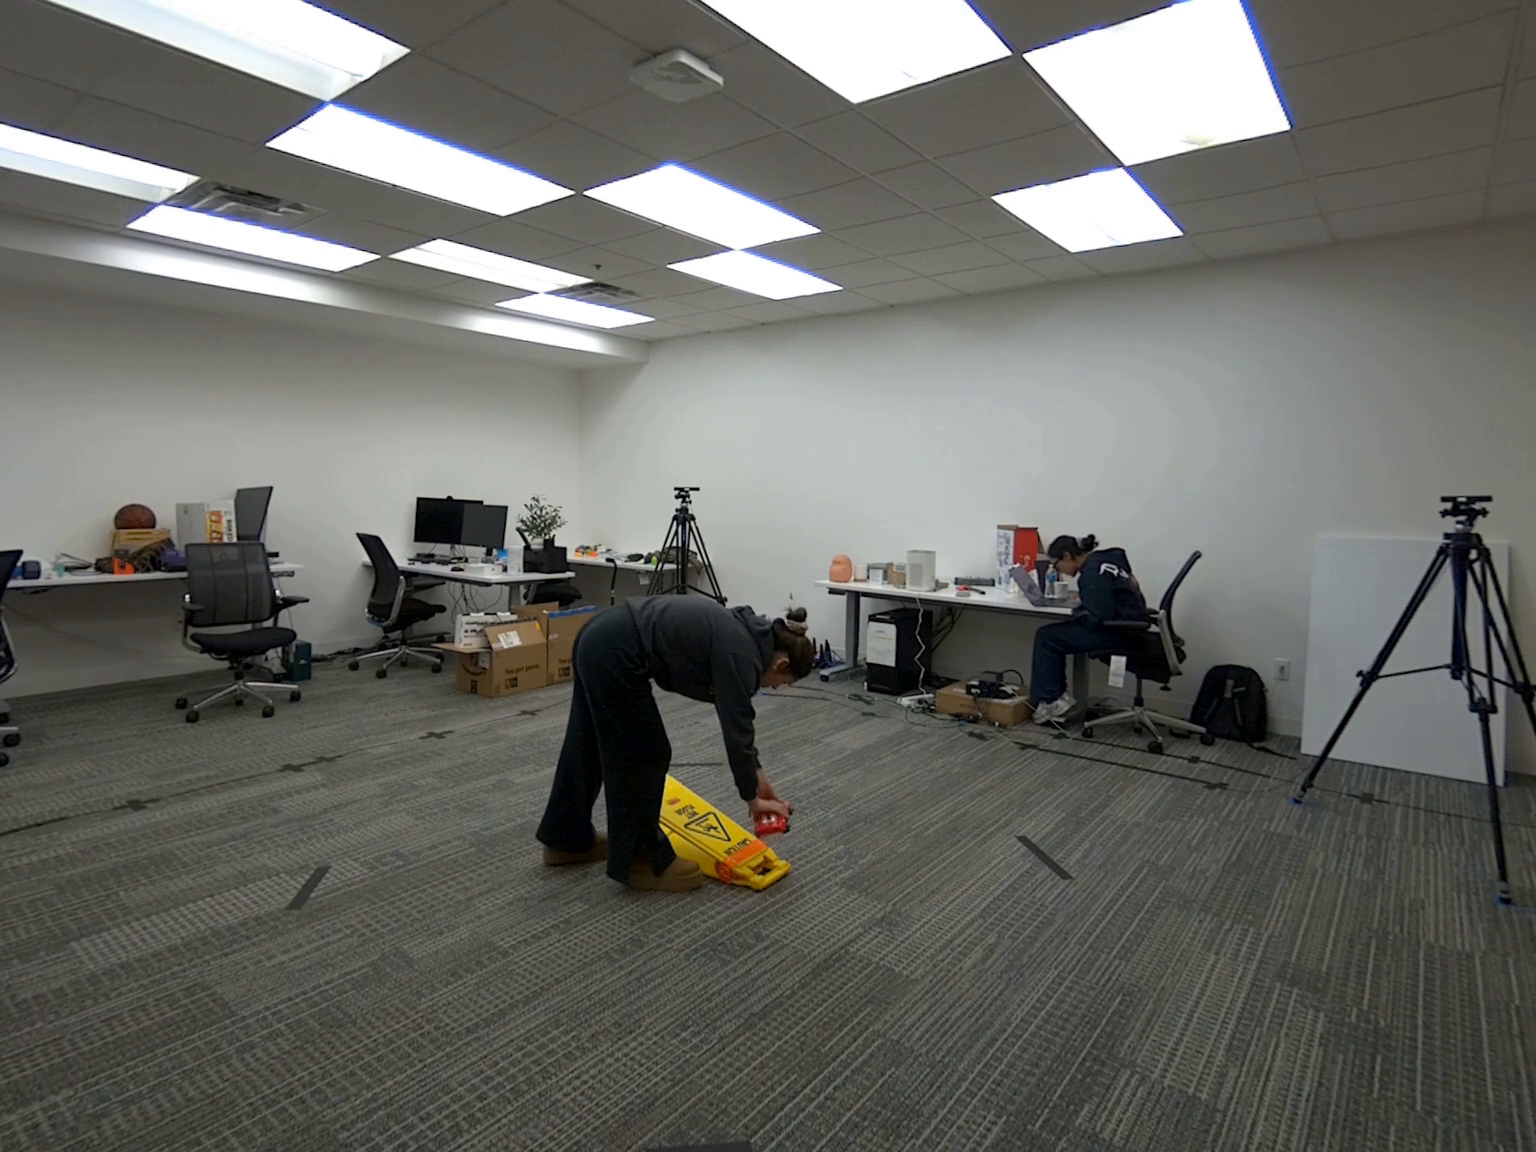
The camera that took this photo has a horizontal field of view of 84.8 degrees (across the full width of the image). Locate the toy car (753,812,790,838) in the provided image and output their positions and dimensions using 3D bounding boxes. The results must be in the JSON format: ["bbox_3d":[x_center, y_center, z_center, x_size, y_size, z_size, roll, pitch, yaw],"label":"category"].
[{"bbox_3d":[0.018,0.861,2.971,0.131,0.084,0.250,-14,-5,8],"label":"toy car"}]
